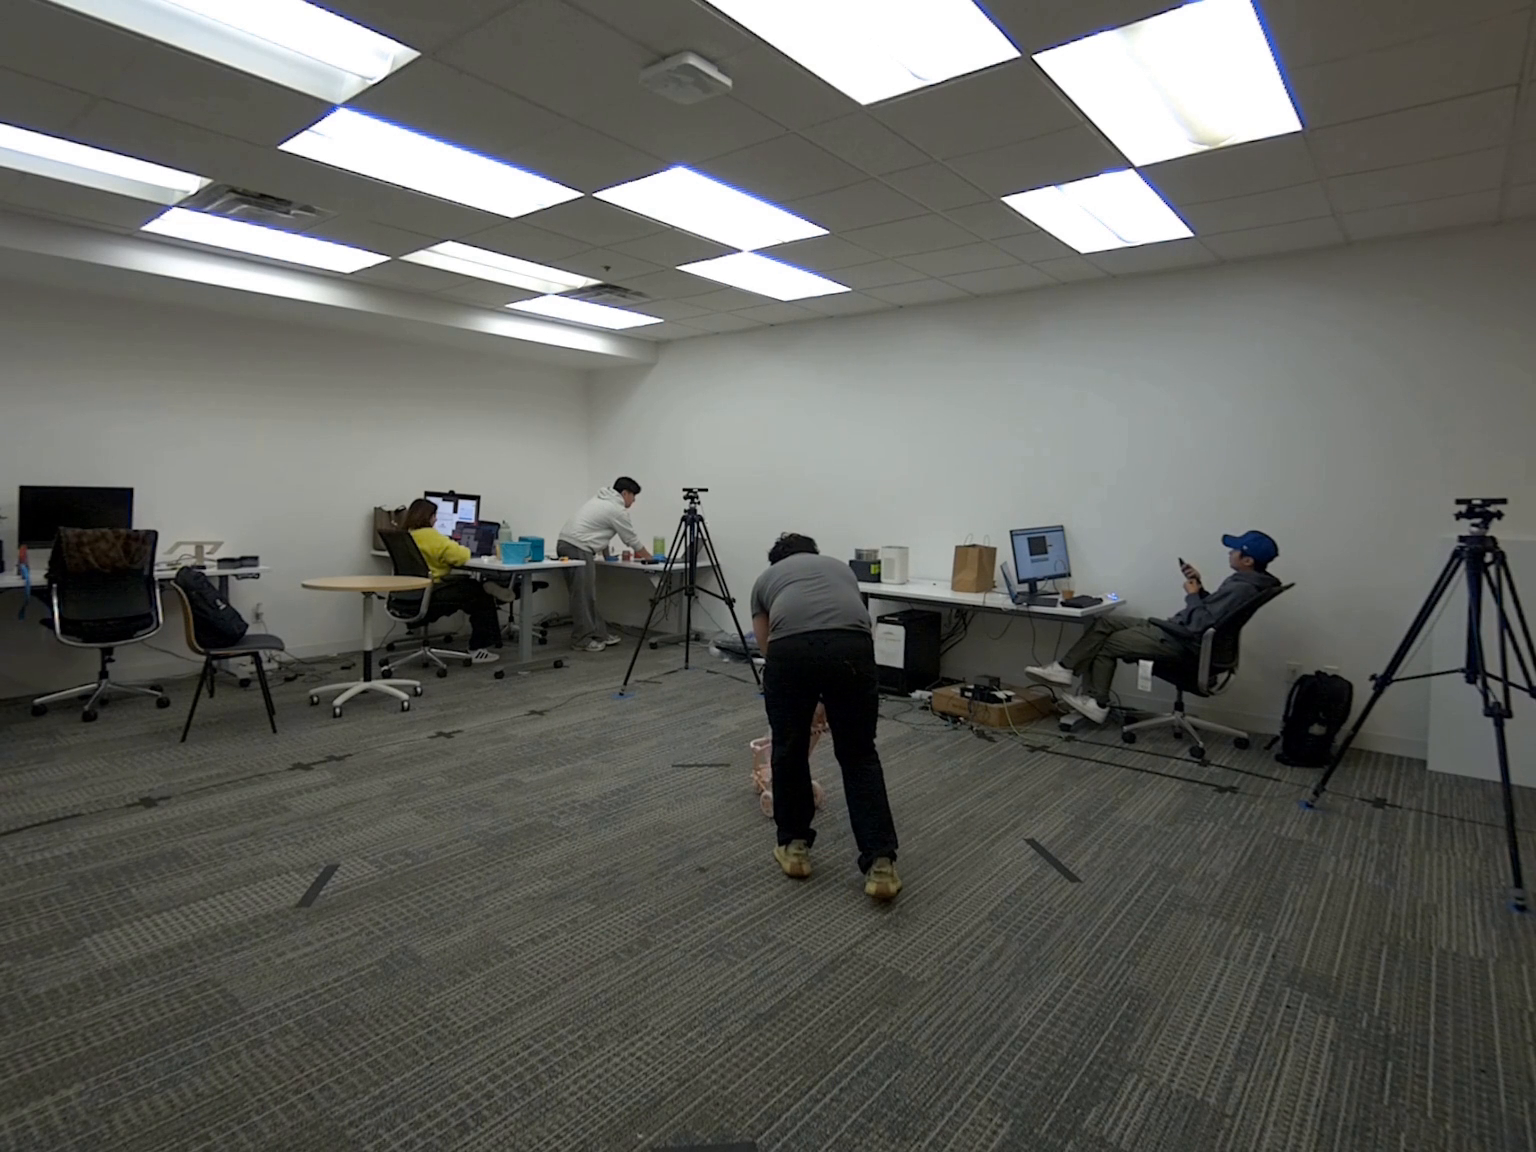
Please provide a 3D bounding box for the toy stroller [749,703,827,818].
[{"bbox_3d":[0.073,0.787,3.728,0.274,0.528,0.355,-1,21,-32],"label":"toy stroller"}]
